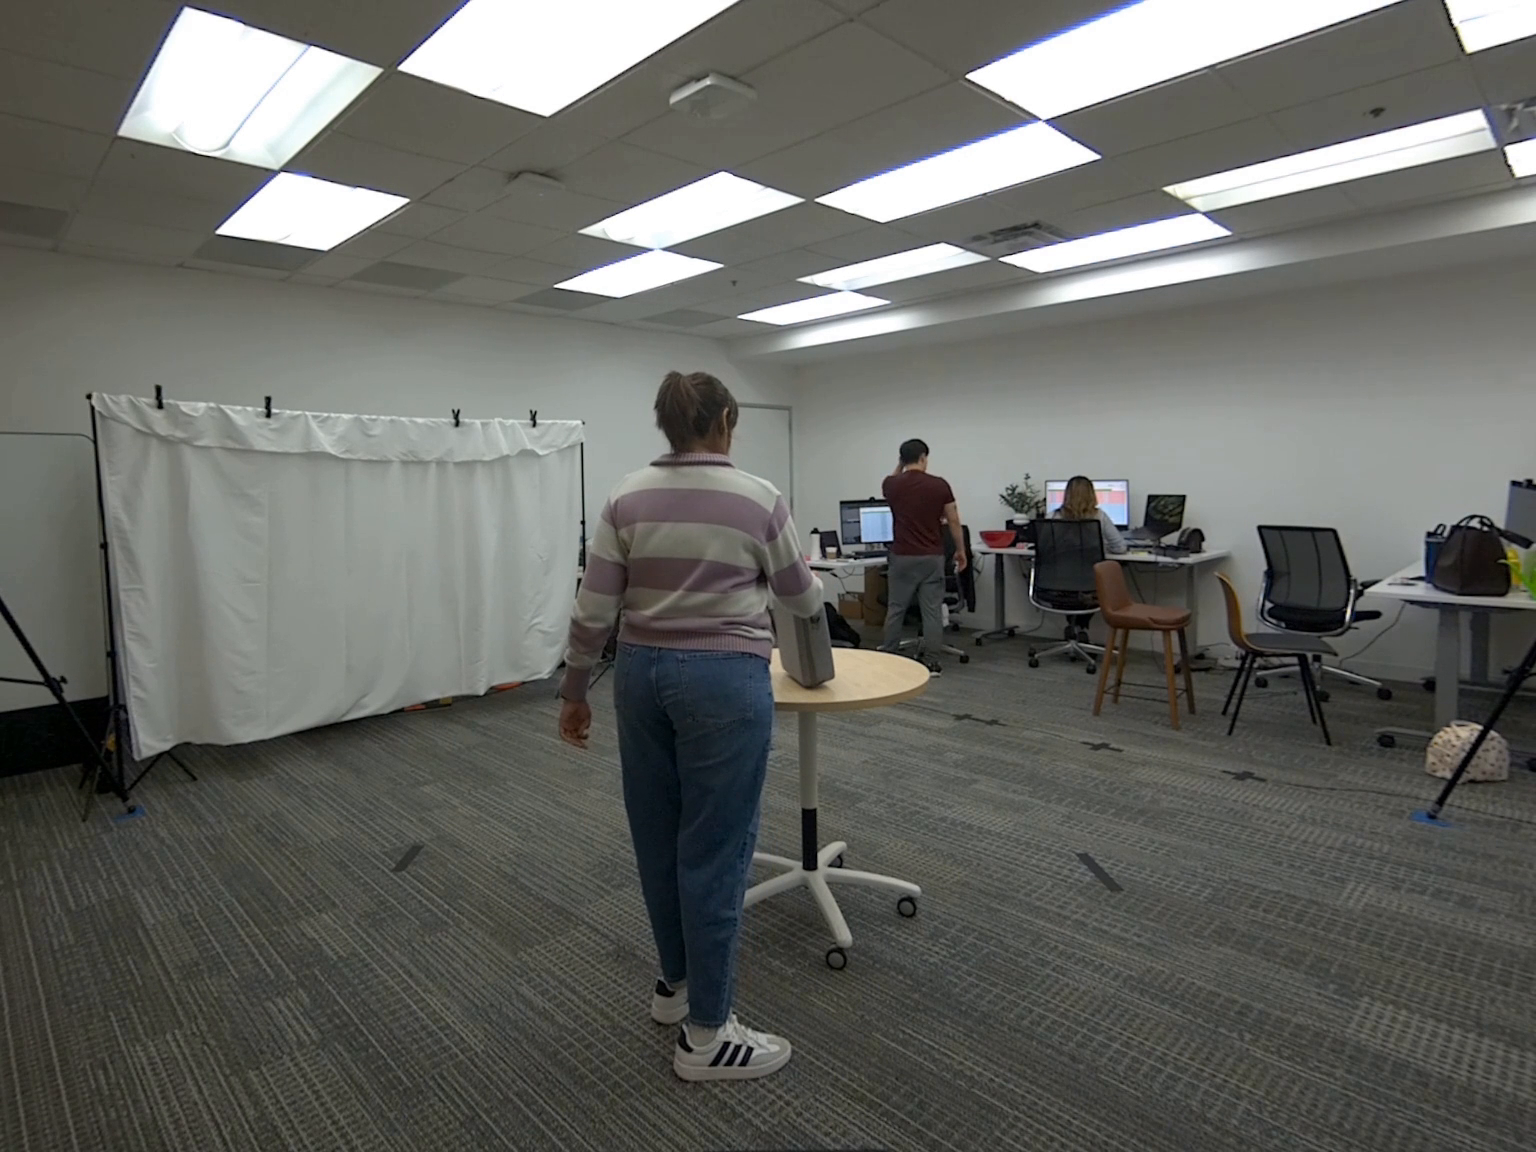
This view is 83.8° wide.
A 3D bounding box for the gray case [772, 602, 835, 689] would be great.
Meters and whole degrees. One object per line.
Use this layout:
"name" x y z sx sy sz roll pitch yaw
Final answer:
"gray case" 0.111 0.181 2.581 0.103 0.259 0.261 -11 8 -12
